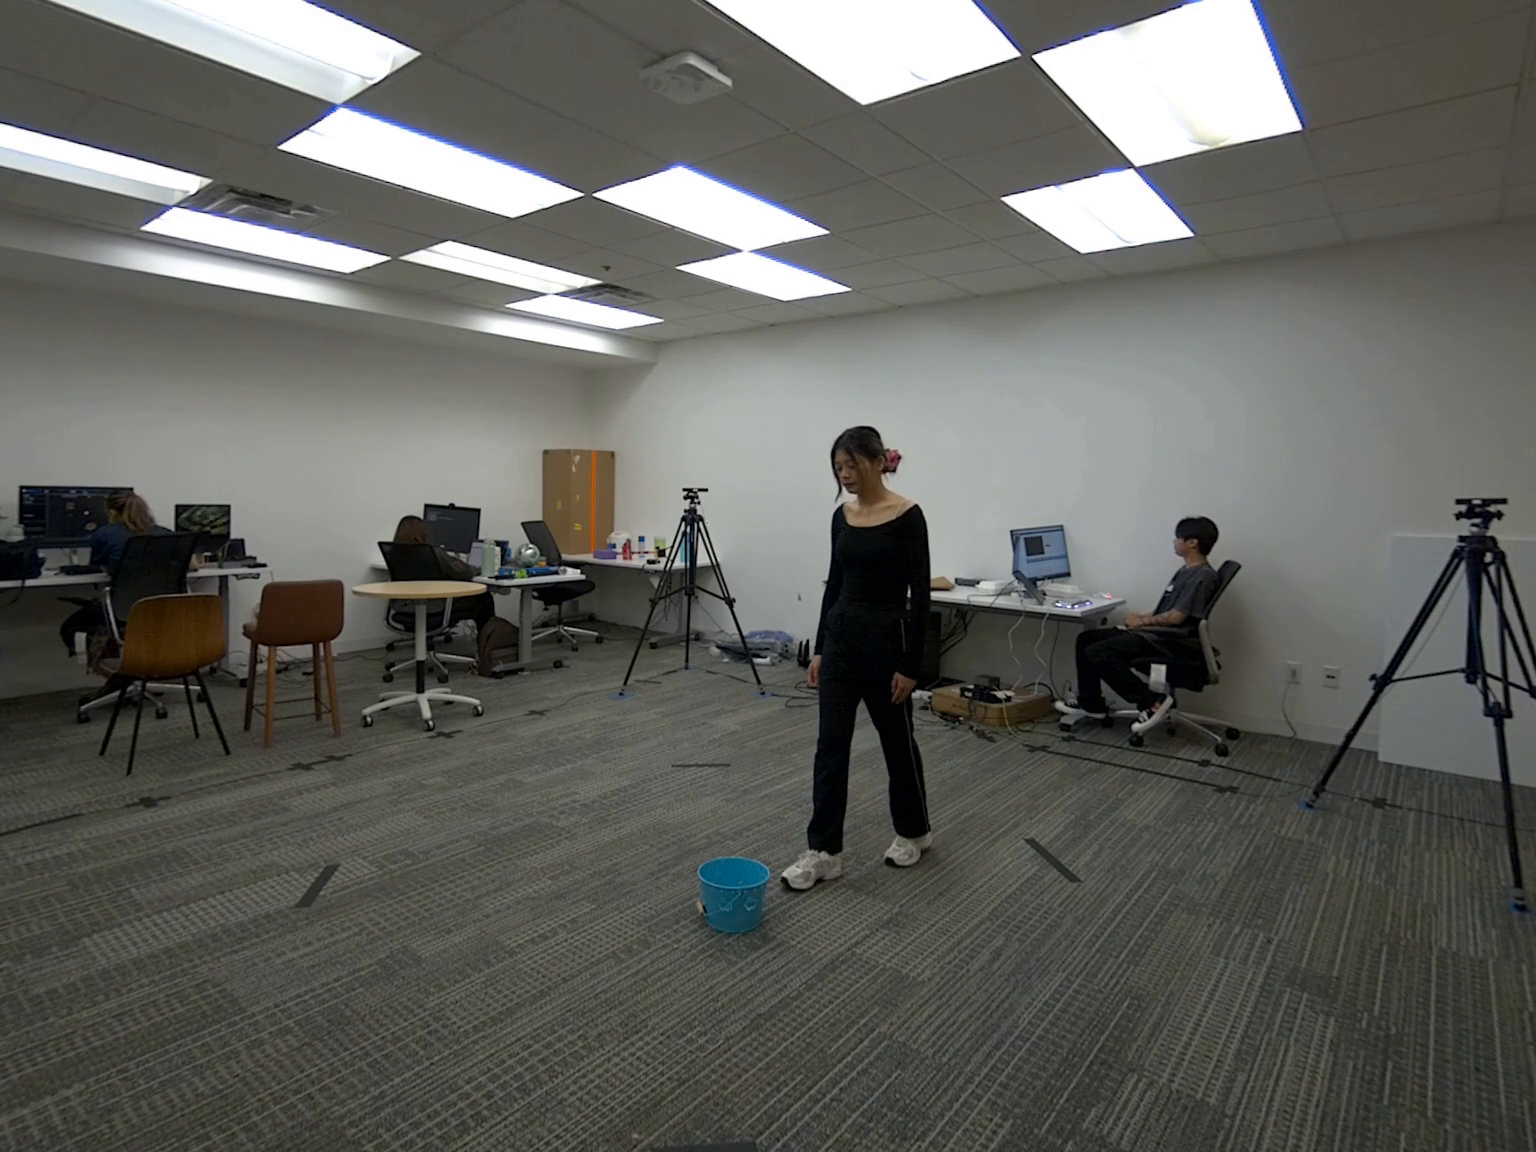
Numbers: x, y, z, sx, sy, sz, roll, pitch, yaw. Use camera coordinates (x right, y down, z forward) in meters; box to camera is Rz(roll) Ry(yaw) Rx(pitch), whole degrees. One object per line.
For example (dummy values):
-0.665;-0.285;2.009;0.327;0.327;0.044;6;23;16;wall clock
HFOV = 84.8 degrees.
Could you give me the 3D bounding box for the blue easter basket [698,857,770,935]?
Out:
-0.126;1.026;2.755;0.243;0.155;0.245;1;5;-2;blue easter basket
